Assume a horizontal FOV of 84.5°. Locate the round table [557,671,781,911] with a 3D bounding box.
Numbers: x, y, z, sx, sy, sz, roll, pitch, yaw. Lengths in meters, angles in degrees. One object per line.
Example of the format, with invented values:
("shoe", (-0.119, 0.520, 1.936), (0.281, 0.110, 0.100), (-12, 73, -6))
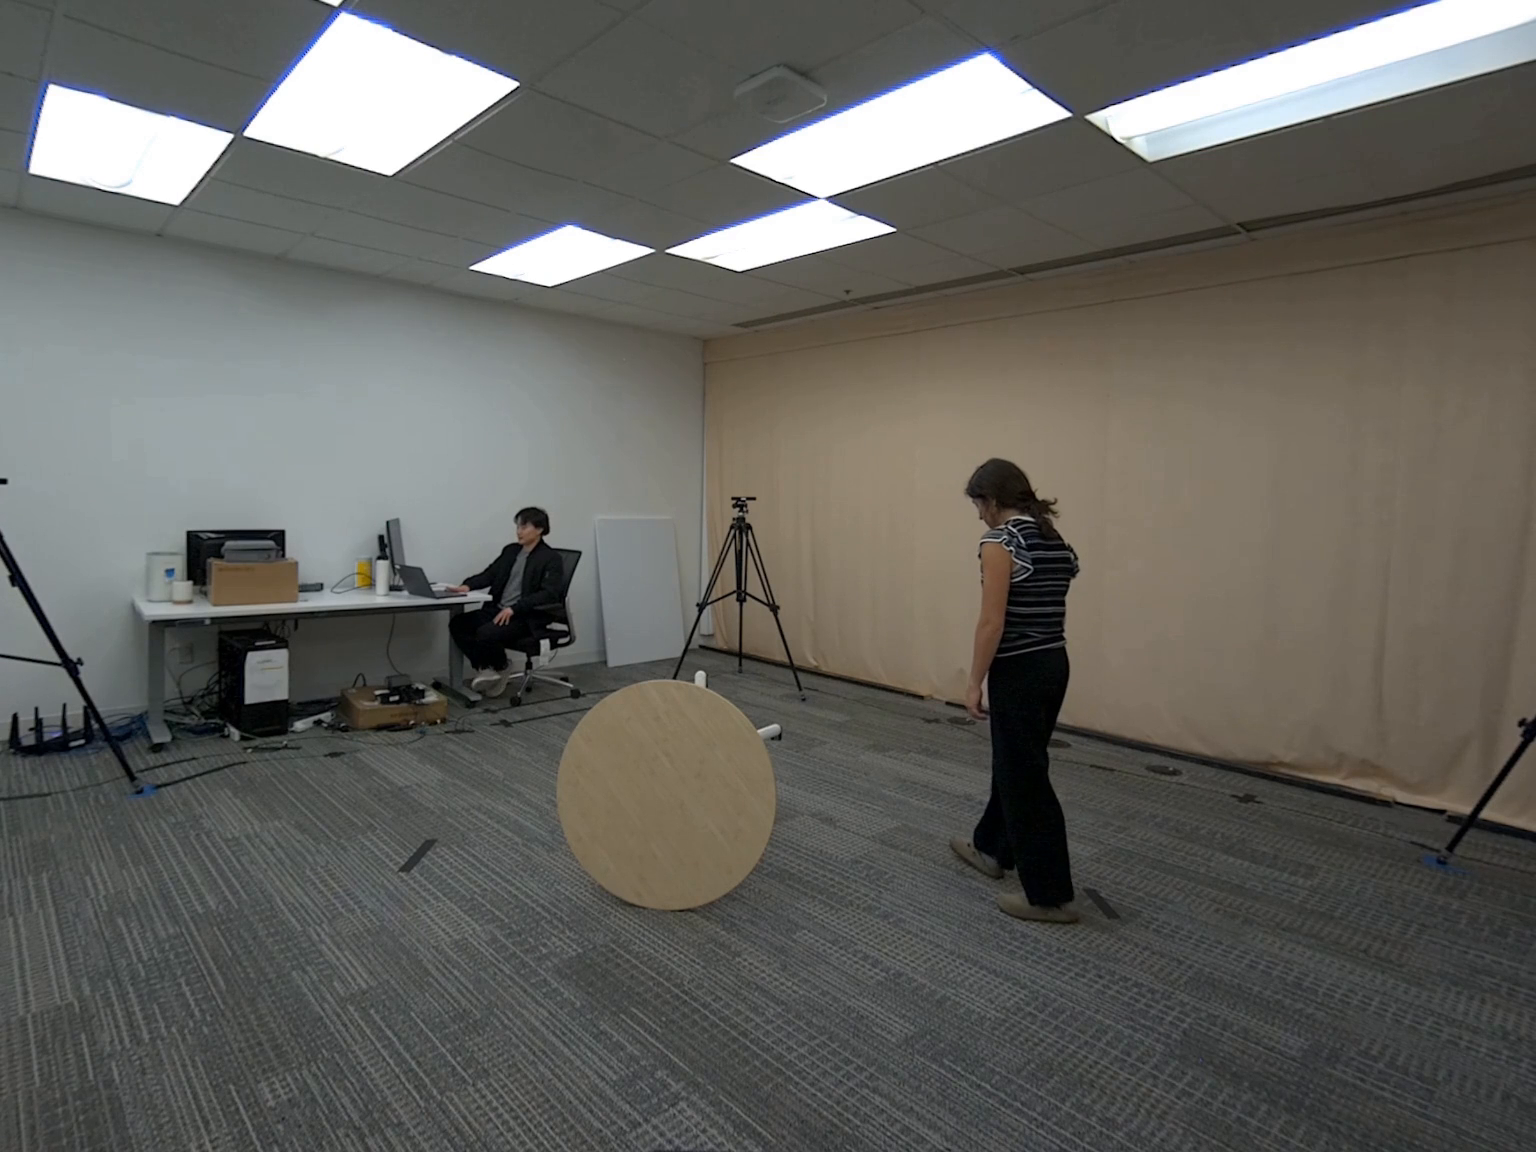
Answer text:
("round table", (-0.321, 0.748, 3.258), (0.791, 0.786, 0.779), (2, -2, 8))
